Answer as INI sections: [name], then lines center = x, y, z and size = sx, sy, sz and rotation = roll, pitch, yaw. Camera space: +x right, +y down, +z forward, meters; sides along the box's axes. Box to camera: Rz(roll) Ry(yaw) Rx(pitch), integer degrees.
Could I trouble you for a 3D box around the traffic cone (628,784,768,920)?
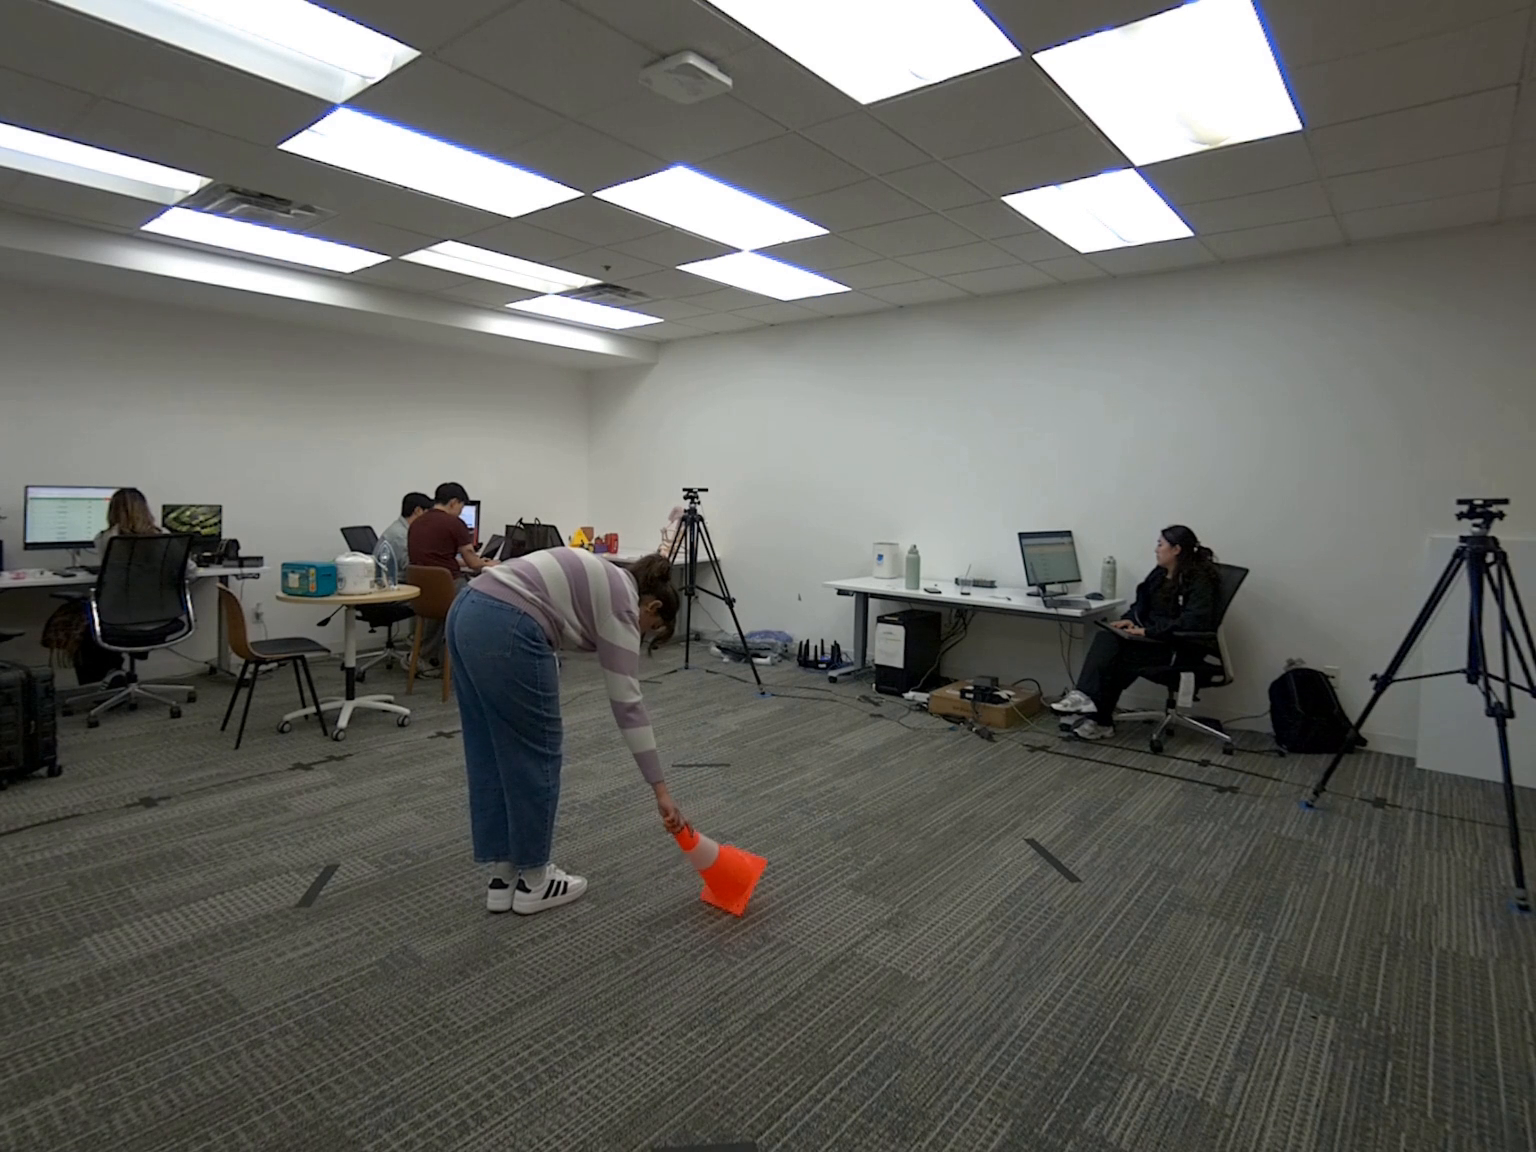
[traffic cone]
center = -0.226, 0.897, 2.745
size = 0.212, 0.204, 0.369
rotation = 10, -34, 50
